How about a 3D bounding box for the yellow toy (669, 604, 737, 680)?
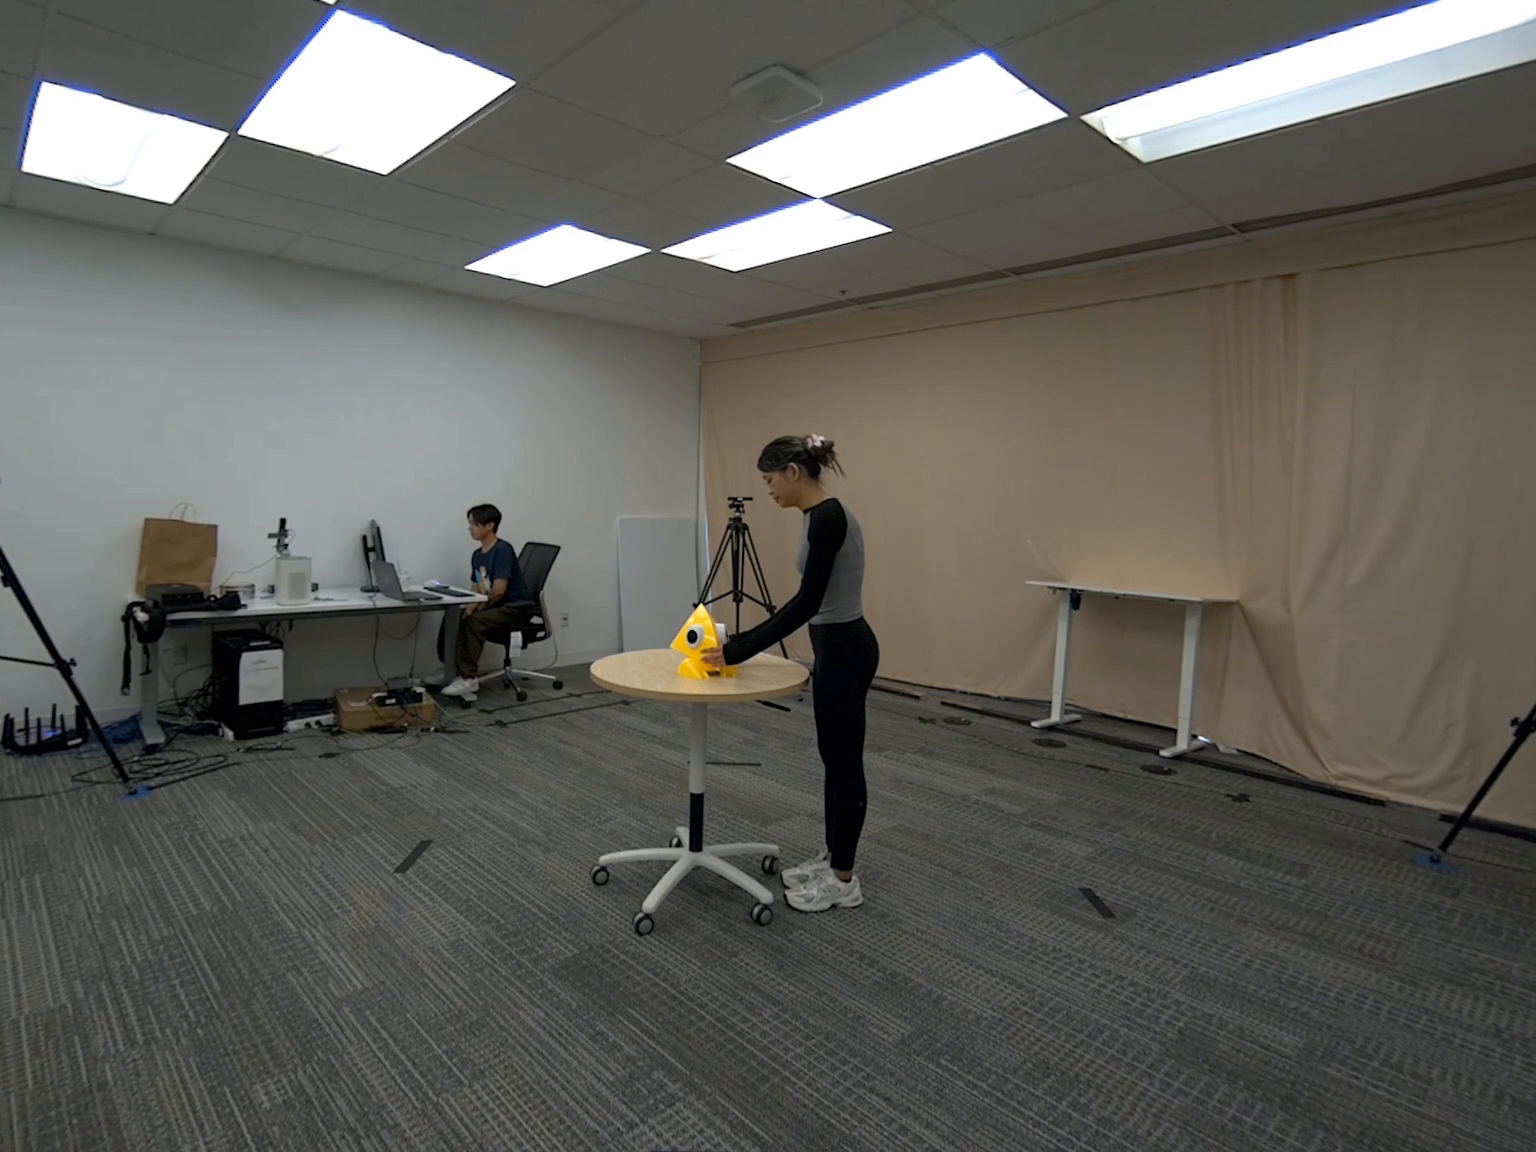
[{"bbox_3d":[-0.209,0.220,2.882,0.201,0.230,0.197,-1,6,-28],"label":"yellow toy"}]
